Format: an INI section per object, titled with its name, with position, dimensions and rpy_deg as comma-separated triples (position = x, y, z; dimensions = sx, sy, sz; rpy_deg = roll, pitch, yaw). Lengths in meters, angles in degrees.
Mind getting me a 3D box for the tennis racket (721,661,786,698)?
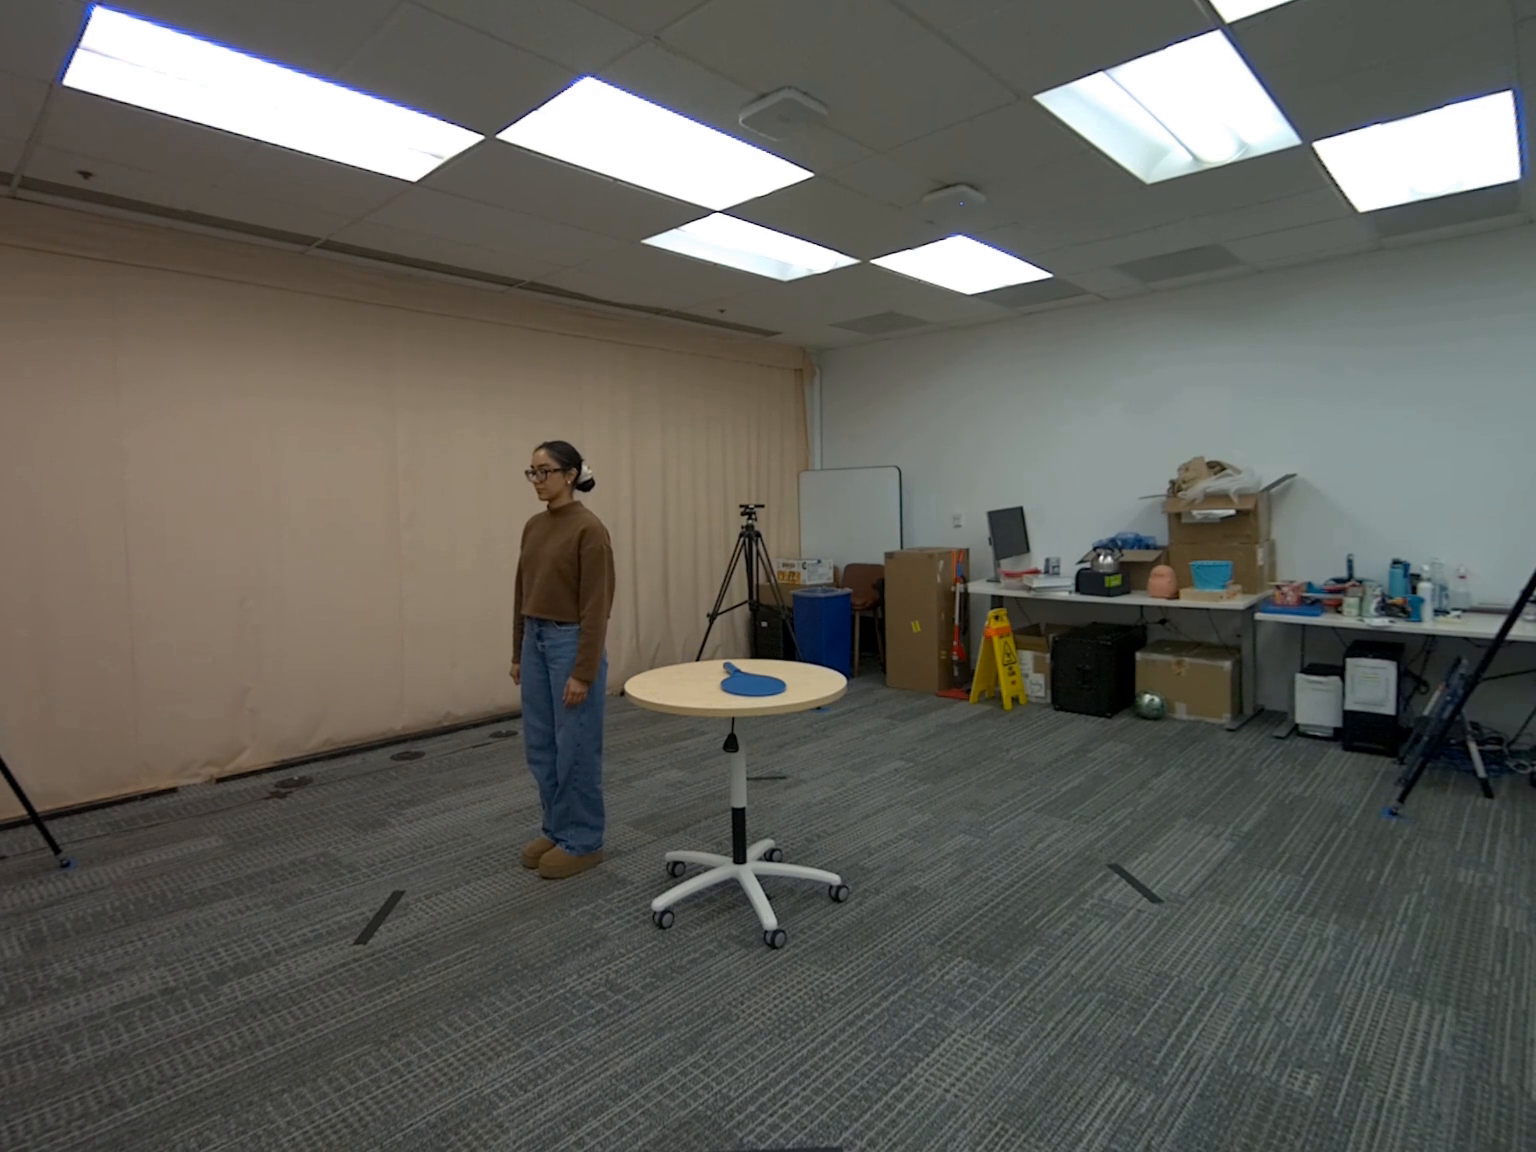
[tennis racket]
position = -0.072, 0.359, 2.875
dimensions = 0.211, 0.031, 0.441
rpy_deg = -3, 7, -15
